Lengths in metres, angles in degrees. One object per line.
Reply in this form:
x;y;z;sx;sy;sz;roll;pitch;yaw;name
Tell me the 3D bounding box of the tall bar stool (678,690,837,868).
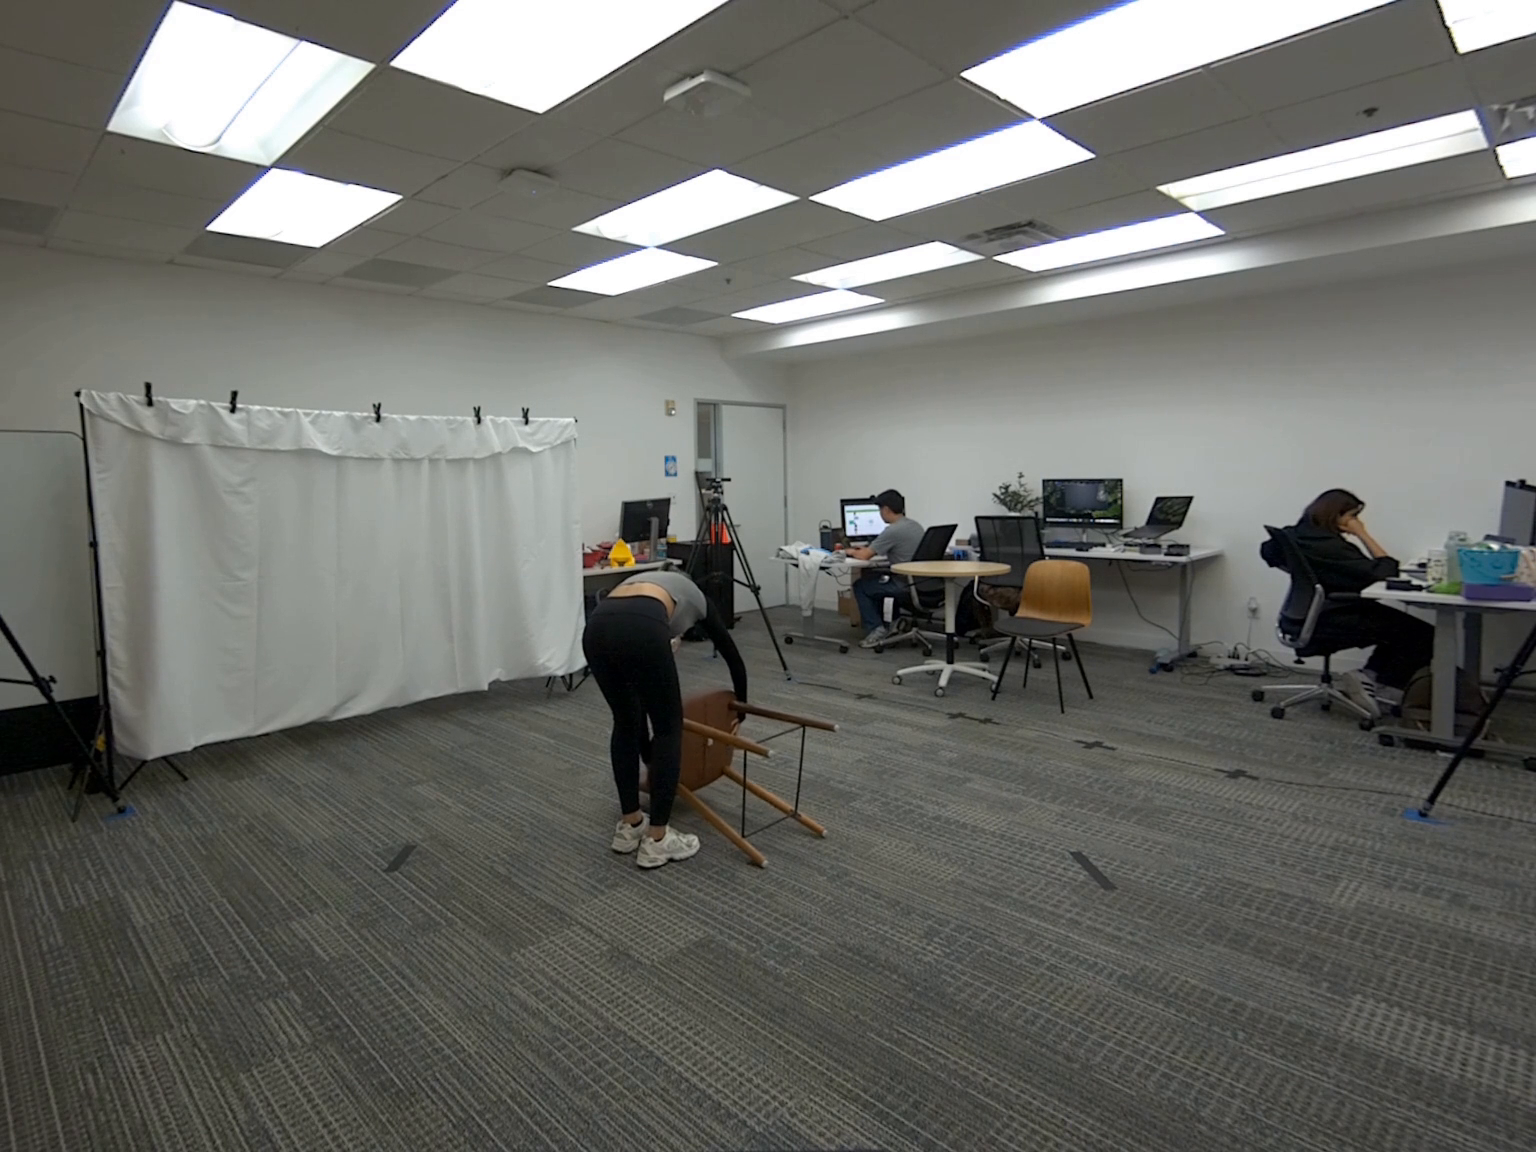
-0.199;0.731;3.457;0.920;0.464;0.445;12;13;43;tall bar stool
